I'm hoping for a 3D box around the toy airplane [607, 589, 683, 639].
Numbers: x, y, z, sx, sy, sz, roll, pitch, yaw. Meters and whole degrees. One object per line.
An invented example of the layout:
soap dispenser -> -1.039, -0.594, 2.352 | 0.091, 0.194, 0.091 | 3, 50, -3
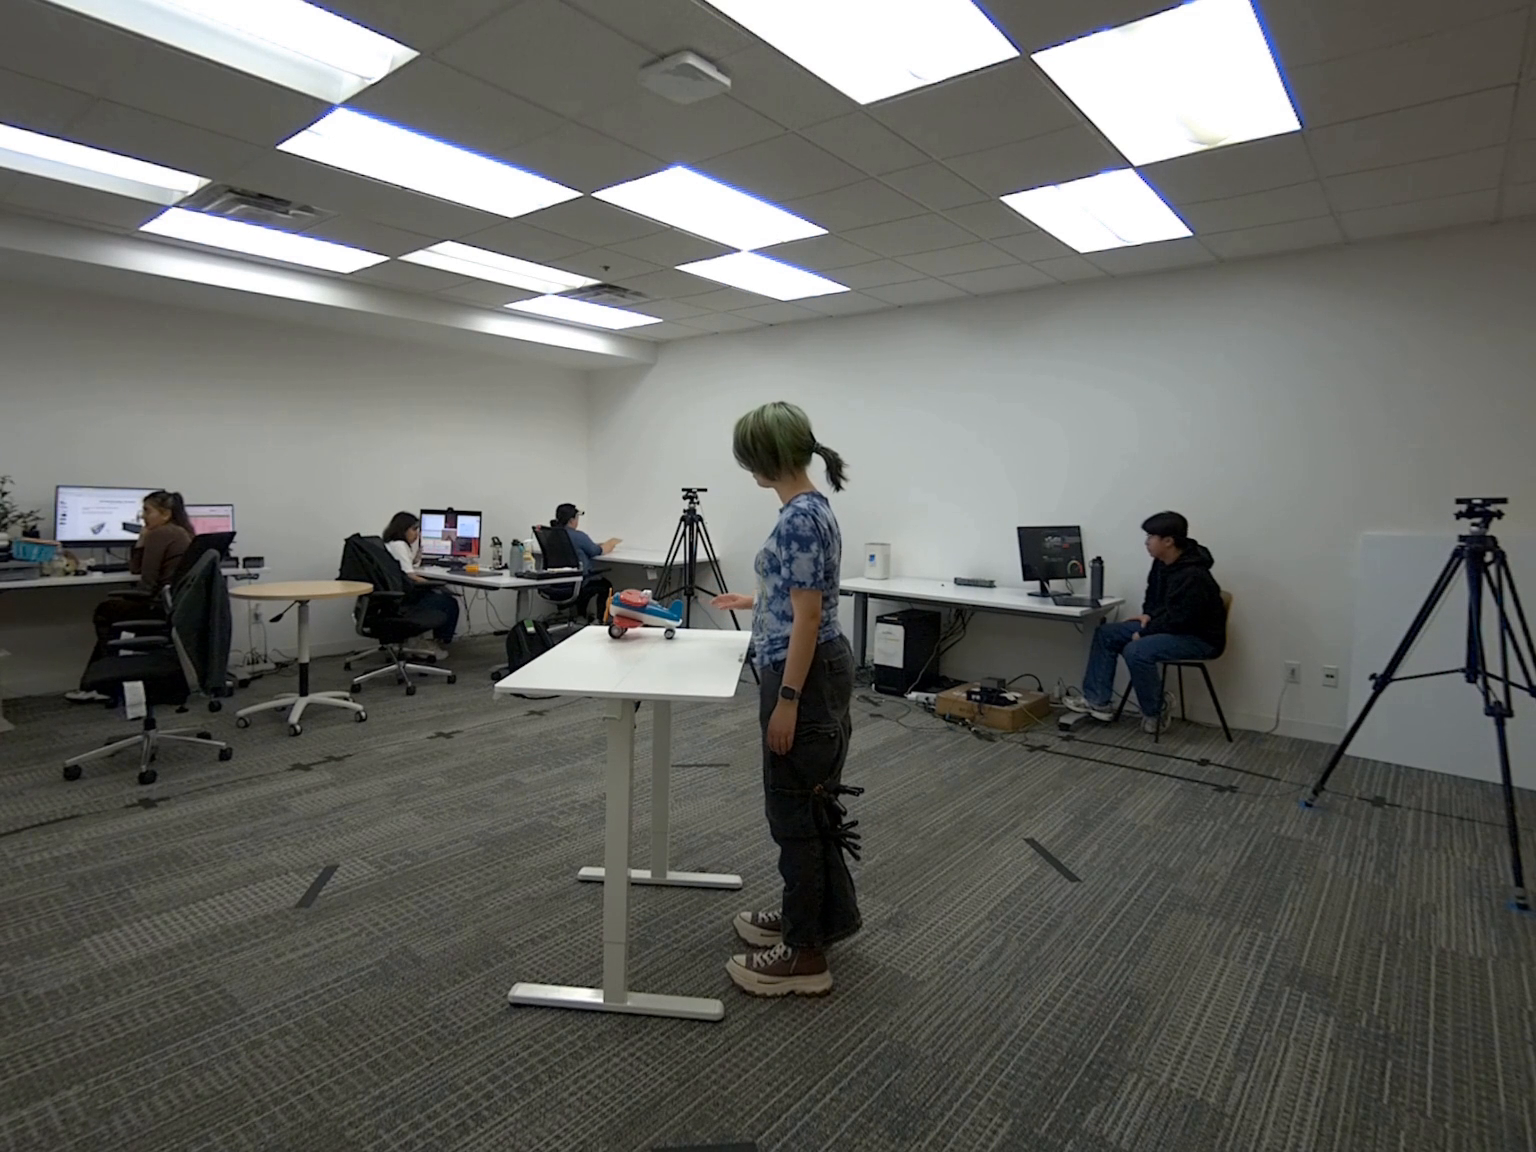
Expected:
toy airplane -> -0.437, 0.129, 2.906 | 0.252, 0.156, 0.258 | -2, 5, -29
